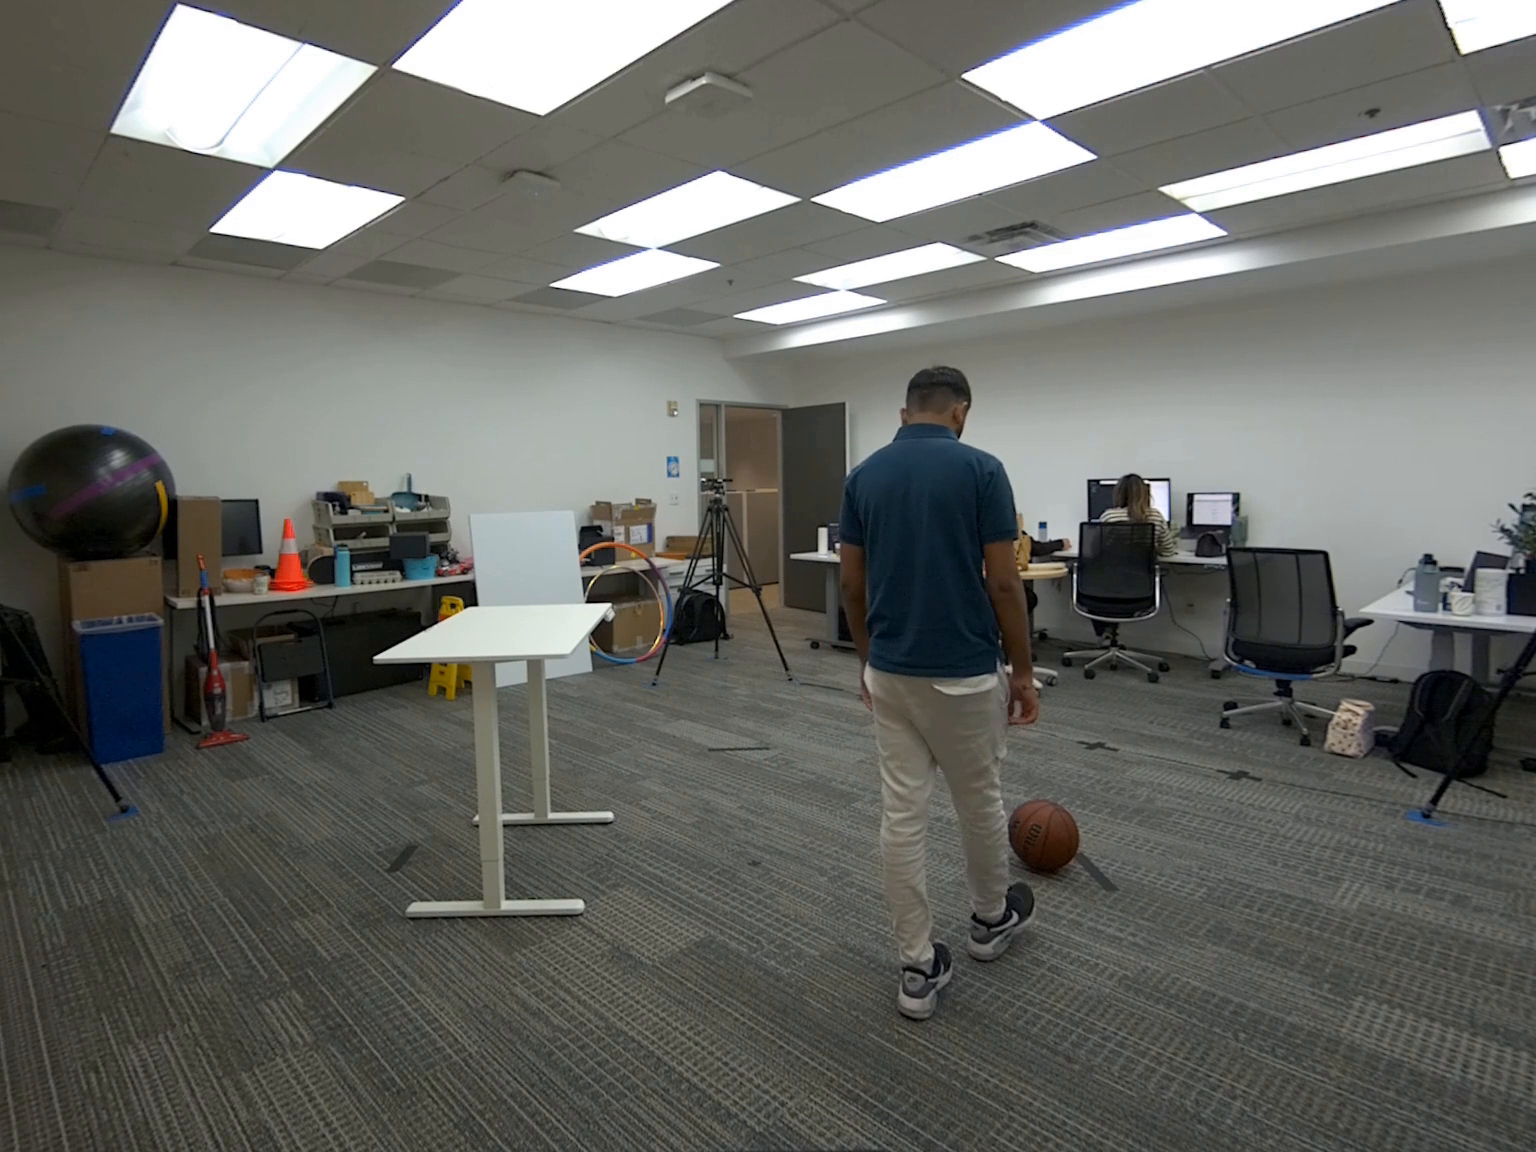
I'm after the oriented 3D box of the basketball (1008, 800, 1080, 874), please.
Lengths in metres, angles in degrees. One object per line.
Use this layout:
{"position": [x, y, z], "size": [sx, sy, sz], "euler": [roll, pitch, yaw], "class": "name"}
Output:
{"position": [0.981, 0.916, 3.030], "size": [0.236, 0.235, 0.237], "euler": [-1, 5, -2], "class": "basketball"}
